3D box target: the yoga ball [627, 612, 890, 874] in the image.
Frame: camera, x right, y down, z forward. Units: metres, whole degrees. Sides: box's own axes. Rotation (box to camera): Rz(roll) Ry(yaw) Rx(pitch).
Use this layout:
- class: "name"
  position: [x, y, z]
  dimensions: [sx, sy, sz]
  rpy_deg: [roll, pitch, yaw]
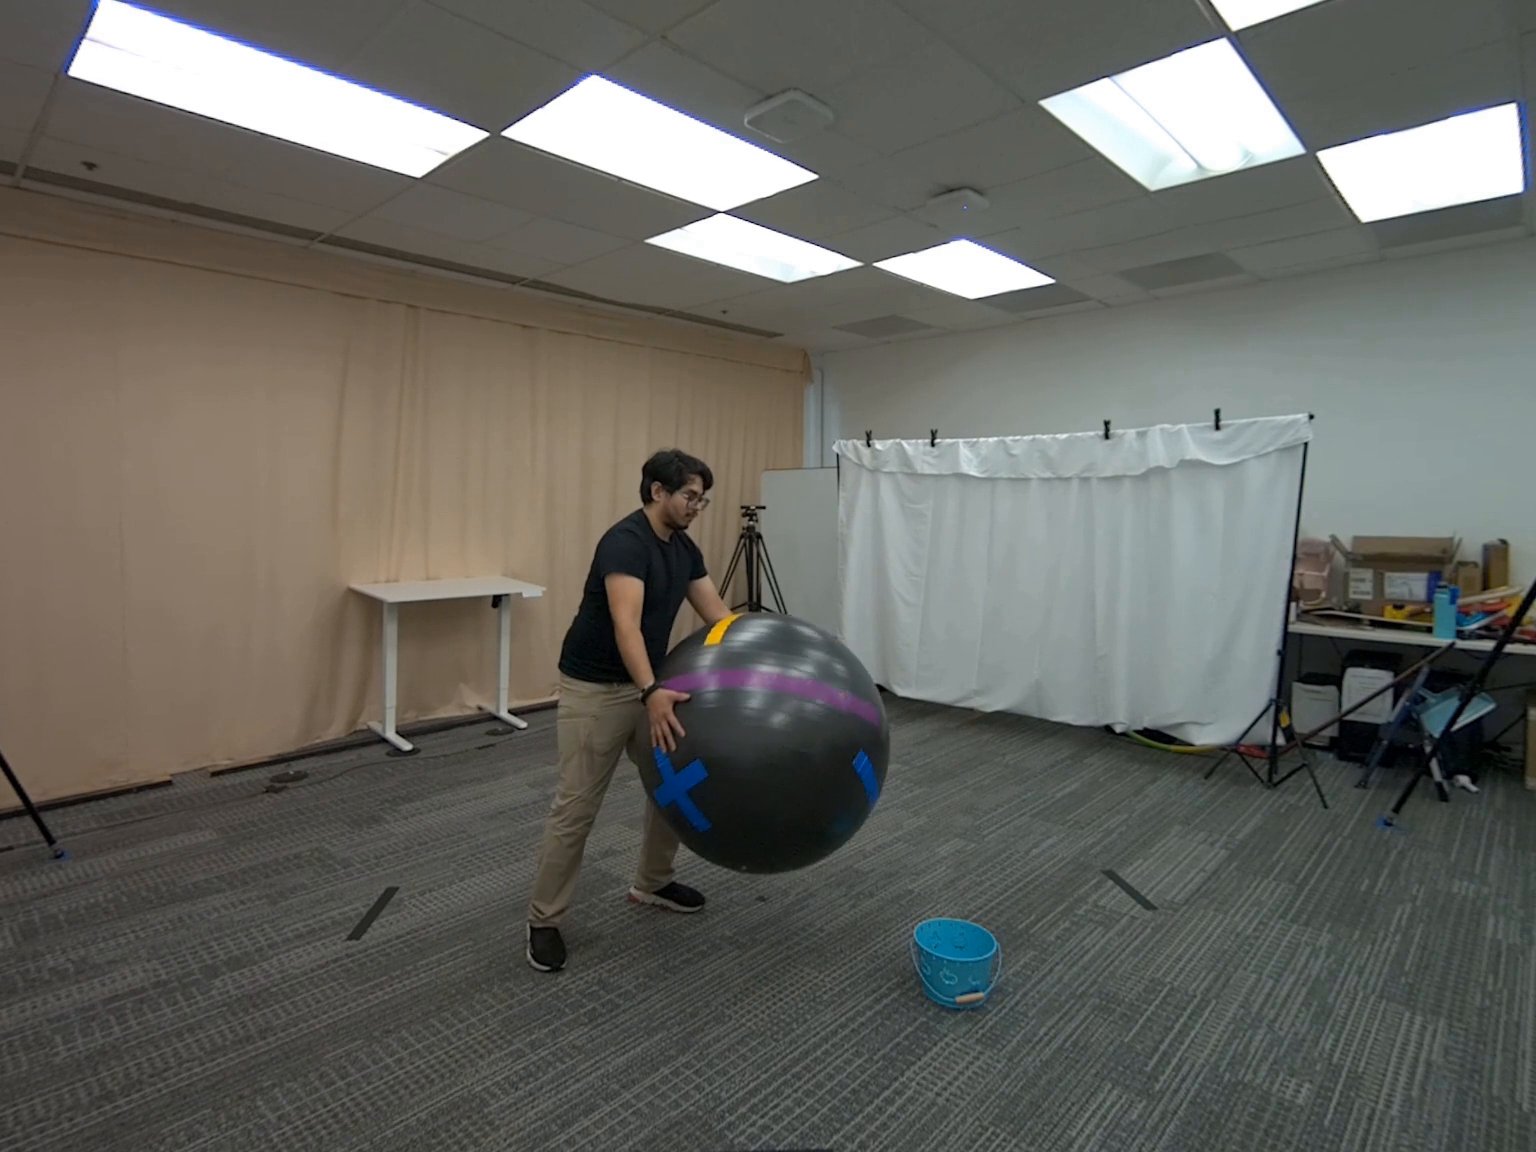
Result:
- class: "yoga ball"
  position: [-0.023, 0.496, 2.528]
  dimensions: [0.757, 0.756, 0.760]
  rpy_deg: [0, 4, -2]
